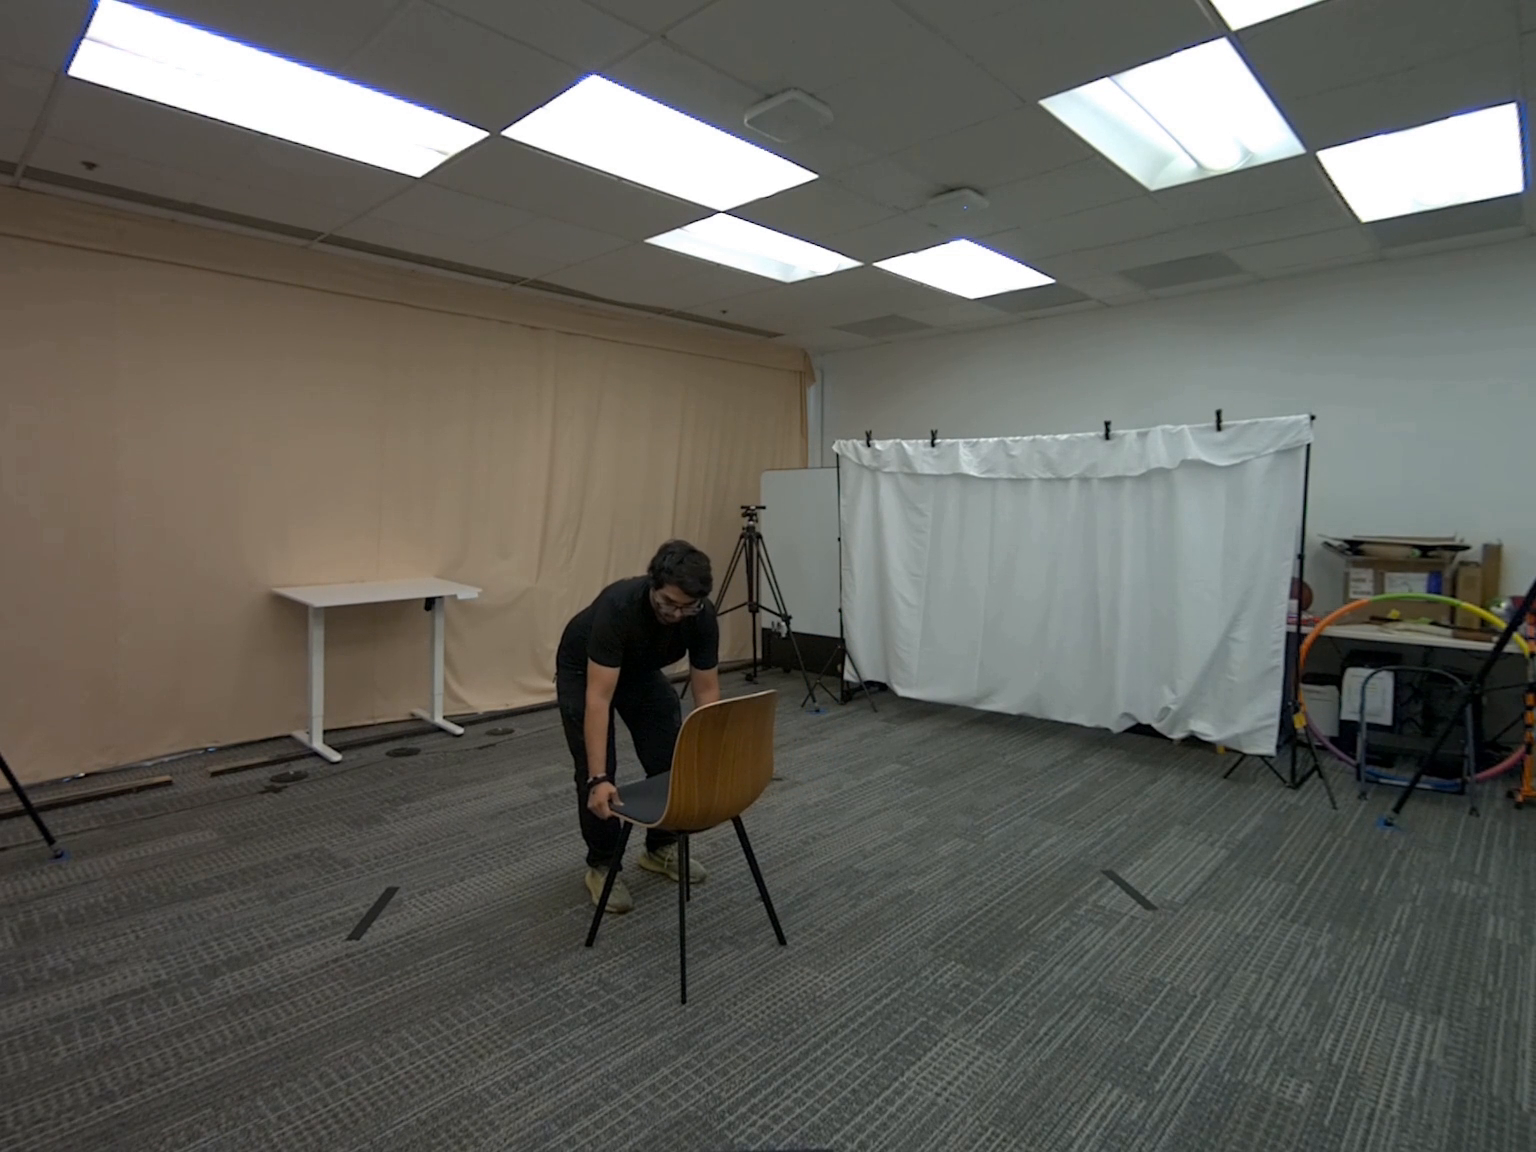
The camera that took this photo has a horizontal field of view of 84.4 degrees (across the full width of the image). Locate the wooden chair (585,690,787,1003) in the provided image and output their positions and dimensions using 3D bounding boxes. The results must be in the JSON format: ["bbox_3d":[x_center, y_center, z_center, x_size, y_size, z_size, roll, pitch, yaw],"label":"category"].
[{"bbox_3d":[-0.262,0.741,2.659,0.541,0.874,0.463,9,9,43],"label":"wooden chair"}]
